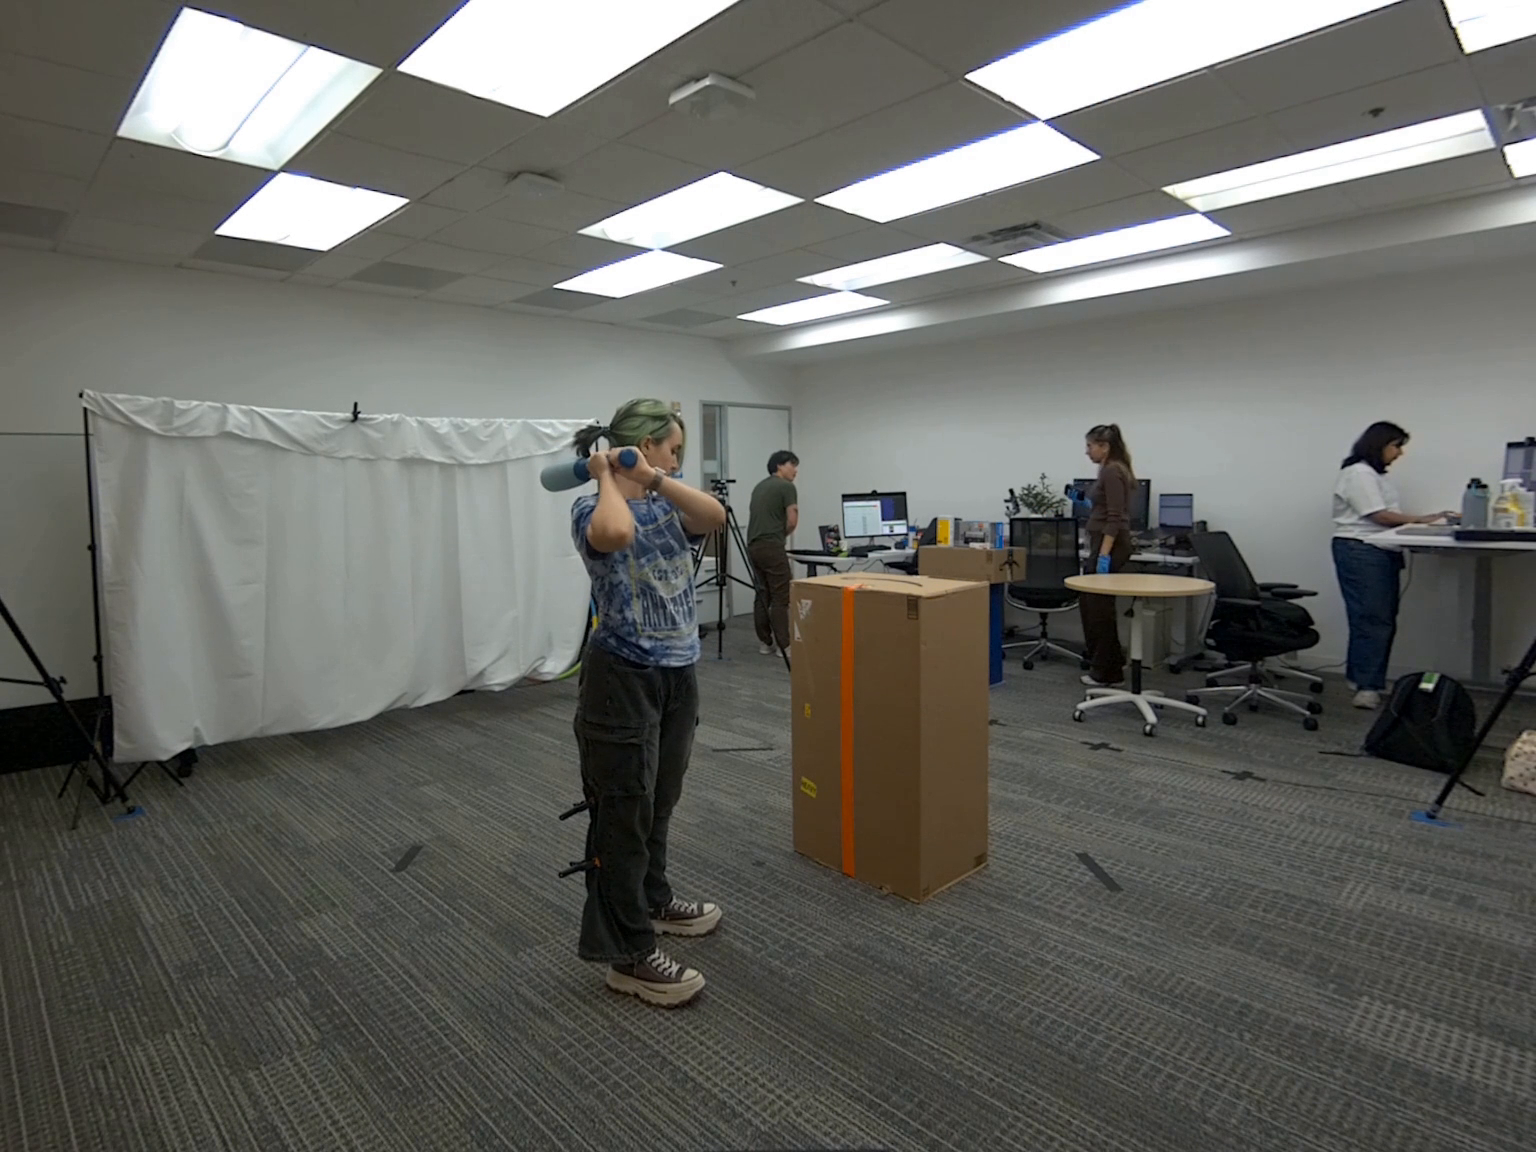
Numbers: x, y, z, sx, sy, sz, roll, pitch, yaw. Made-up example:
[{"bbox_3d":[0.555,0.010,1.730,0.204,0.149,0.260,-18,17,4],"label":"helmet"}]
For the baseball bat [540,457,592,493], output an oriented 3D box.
[{"bbox_3d":[-0.509,-0.296,2.368,0.087,0.089,0.557,-4,2,-35],"label":"baseball bat"}]
